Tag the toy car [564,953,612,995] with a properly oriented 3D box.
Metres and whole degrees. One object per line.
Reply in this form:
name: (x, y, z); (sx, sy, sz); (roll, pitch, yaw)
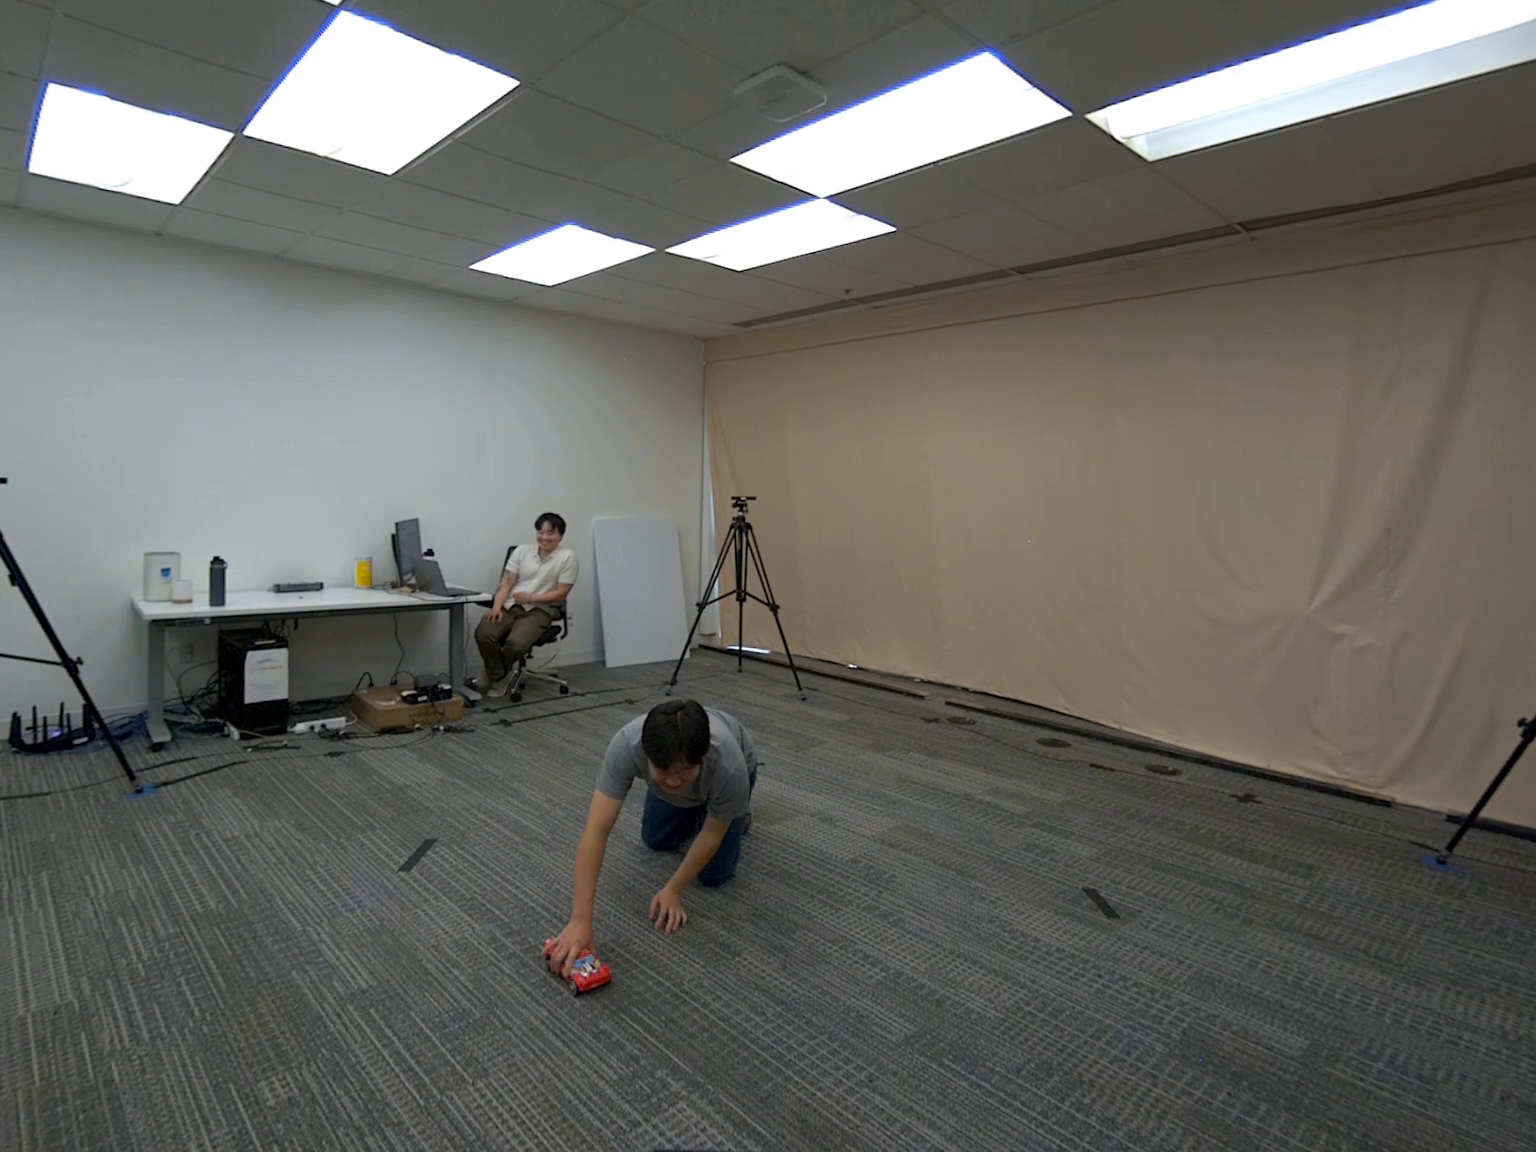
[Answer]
toy car: (-0.572, 1.129, 2.437); (0.127, 0.082, 0.262); (-2, 16, -38)
